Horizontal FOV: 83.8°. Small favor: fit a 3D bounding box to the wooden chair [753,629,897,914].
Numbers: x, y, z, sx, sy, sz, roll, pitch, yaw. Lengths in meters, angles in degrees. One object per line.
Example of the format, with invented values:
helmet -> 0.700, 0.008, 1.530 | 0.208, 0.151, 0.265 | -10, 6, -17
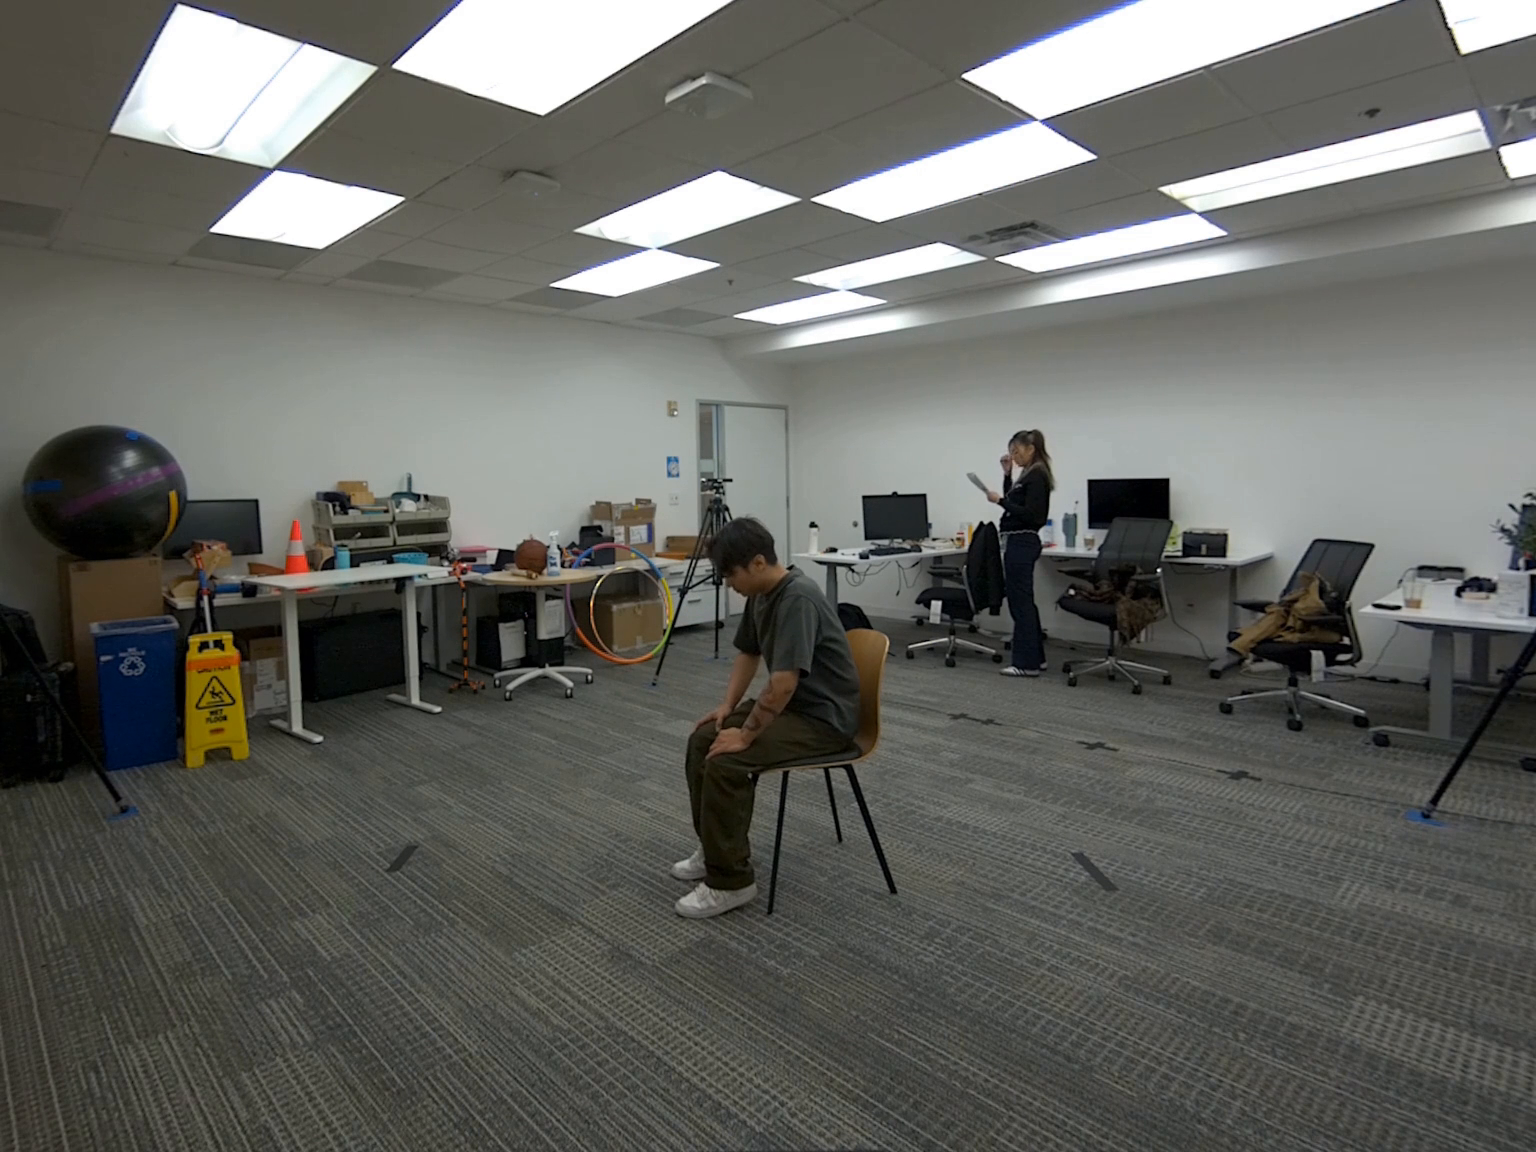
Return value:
wooden chair -> 0.132, 0.625, 2.978 | 0.514, 0.875, 0.487 | 2, 4, -18
